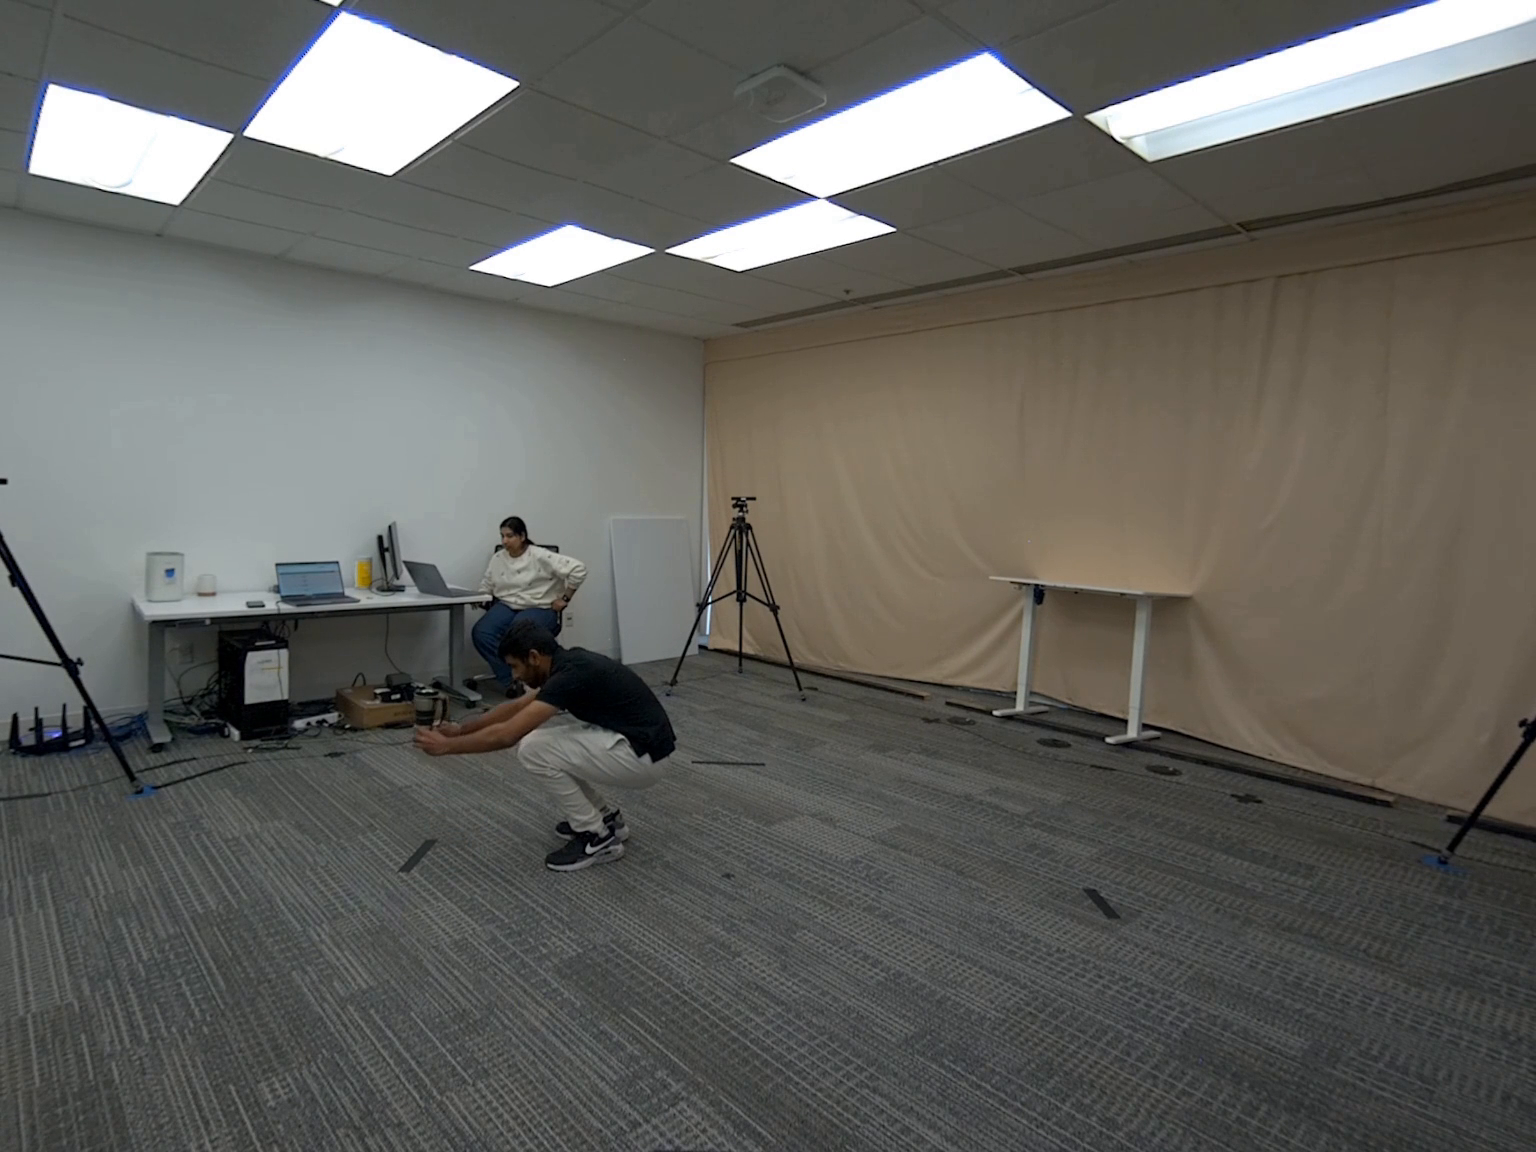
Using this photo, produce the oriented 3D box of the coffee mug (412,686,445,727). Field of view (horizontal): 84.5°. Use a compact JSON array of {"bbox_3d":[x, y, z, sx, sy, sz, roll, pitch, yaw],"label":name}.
[{"bbox_3d":[-1.278,0.533,3.159,0.125,0.203,0.086,0,-1,33],"label":"coffee mug"}]
